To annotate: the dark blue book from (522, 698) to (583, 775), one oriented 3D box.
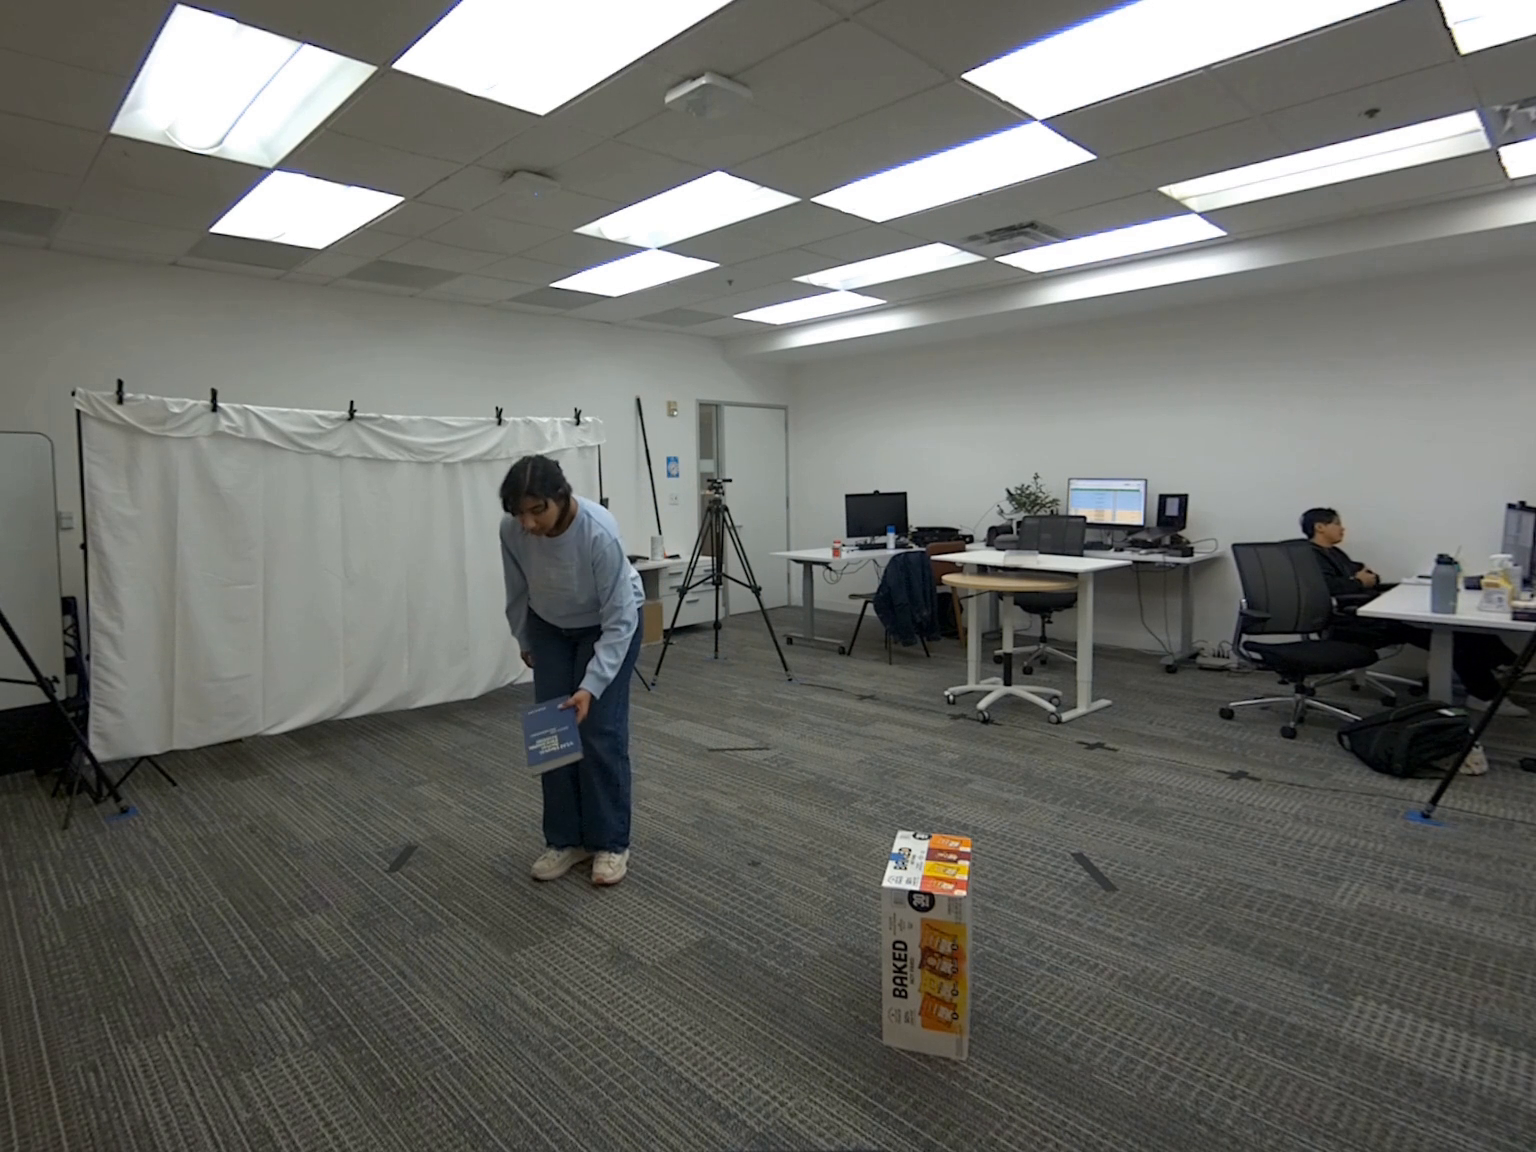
[{"bbox_3d":[-0.673,0.481,2.628,0.162,0.044,0.254,-13,39,-9],"label":"dark blue book"}]
